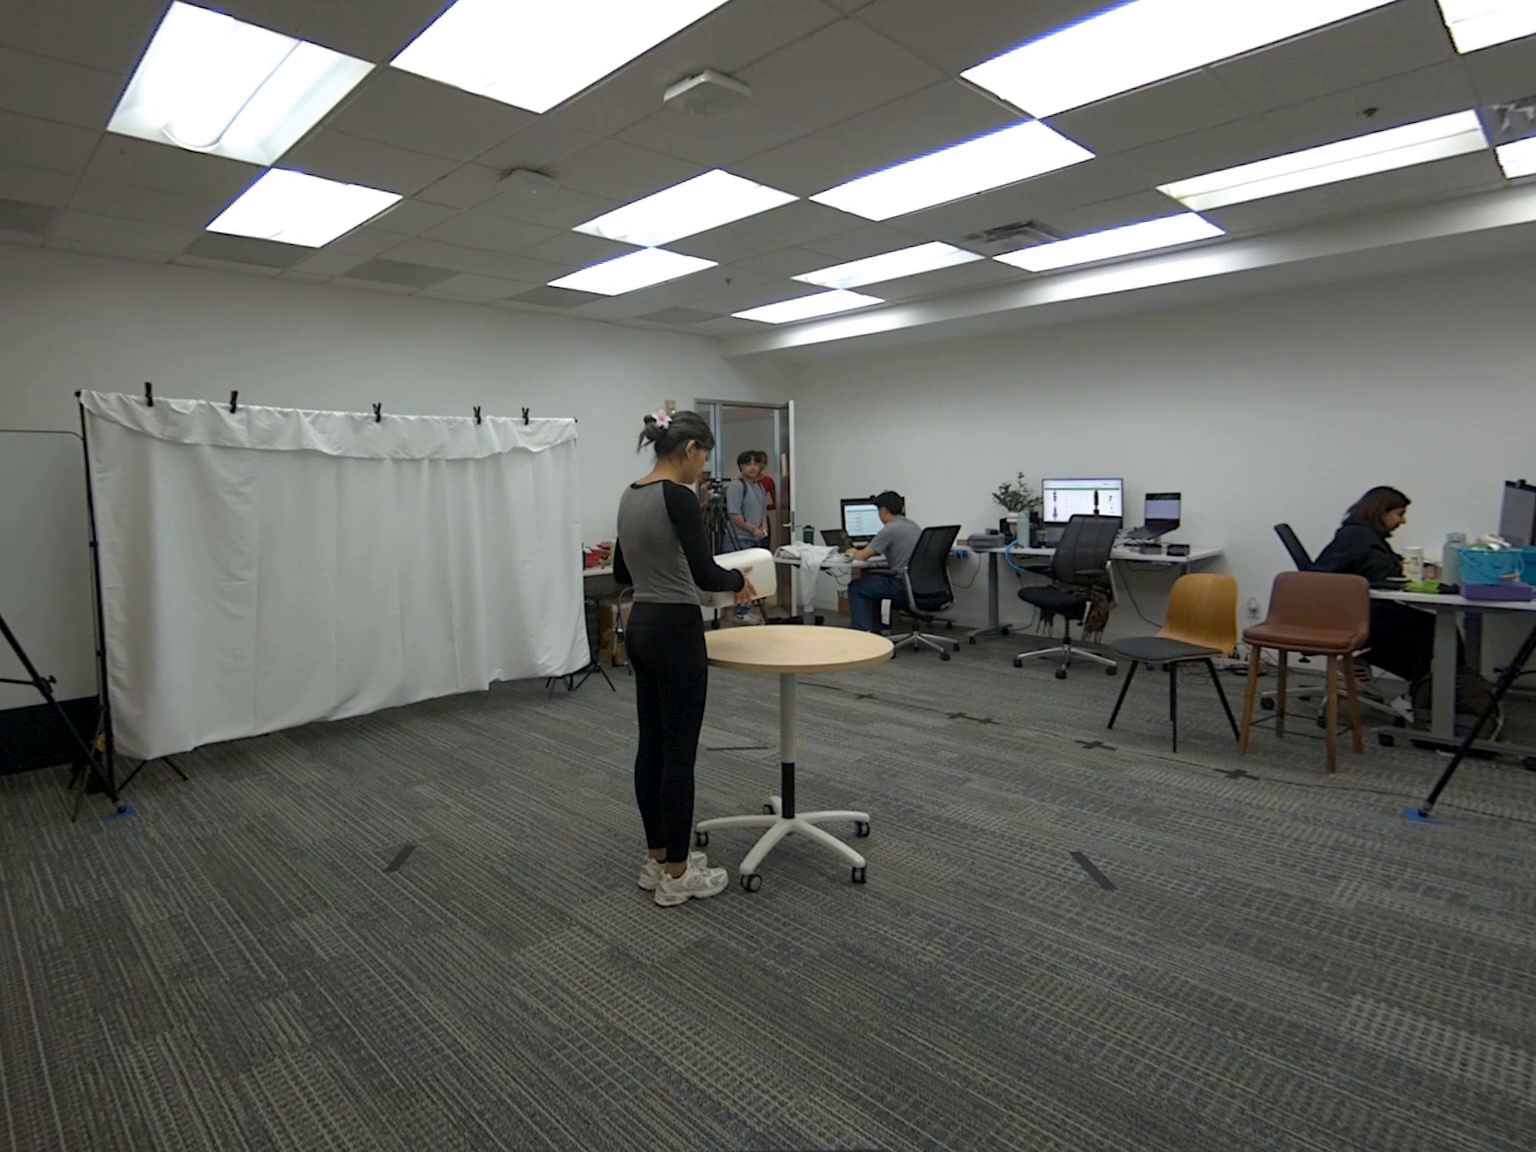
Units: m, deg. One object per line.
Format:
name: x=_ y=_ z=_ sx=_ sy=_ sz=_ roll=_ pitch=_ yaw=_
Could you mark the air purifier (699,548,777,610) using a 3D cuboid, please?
air purifier: x=-0.122 y=0.007 z=3.035 sx=0.260 sy=0.170 sz=0.176 roll=-12 pitch=9 yaw=-34
